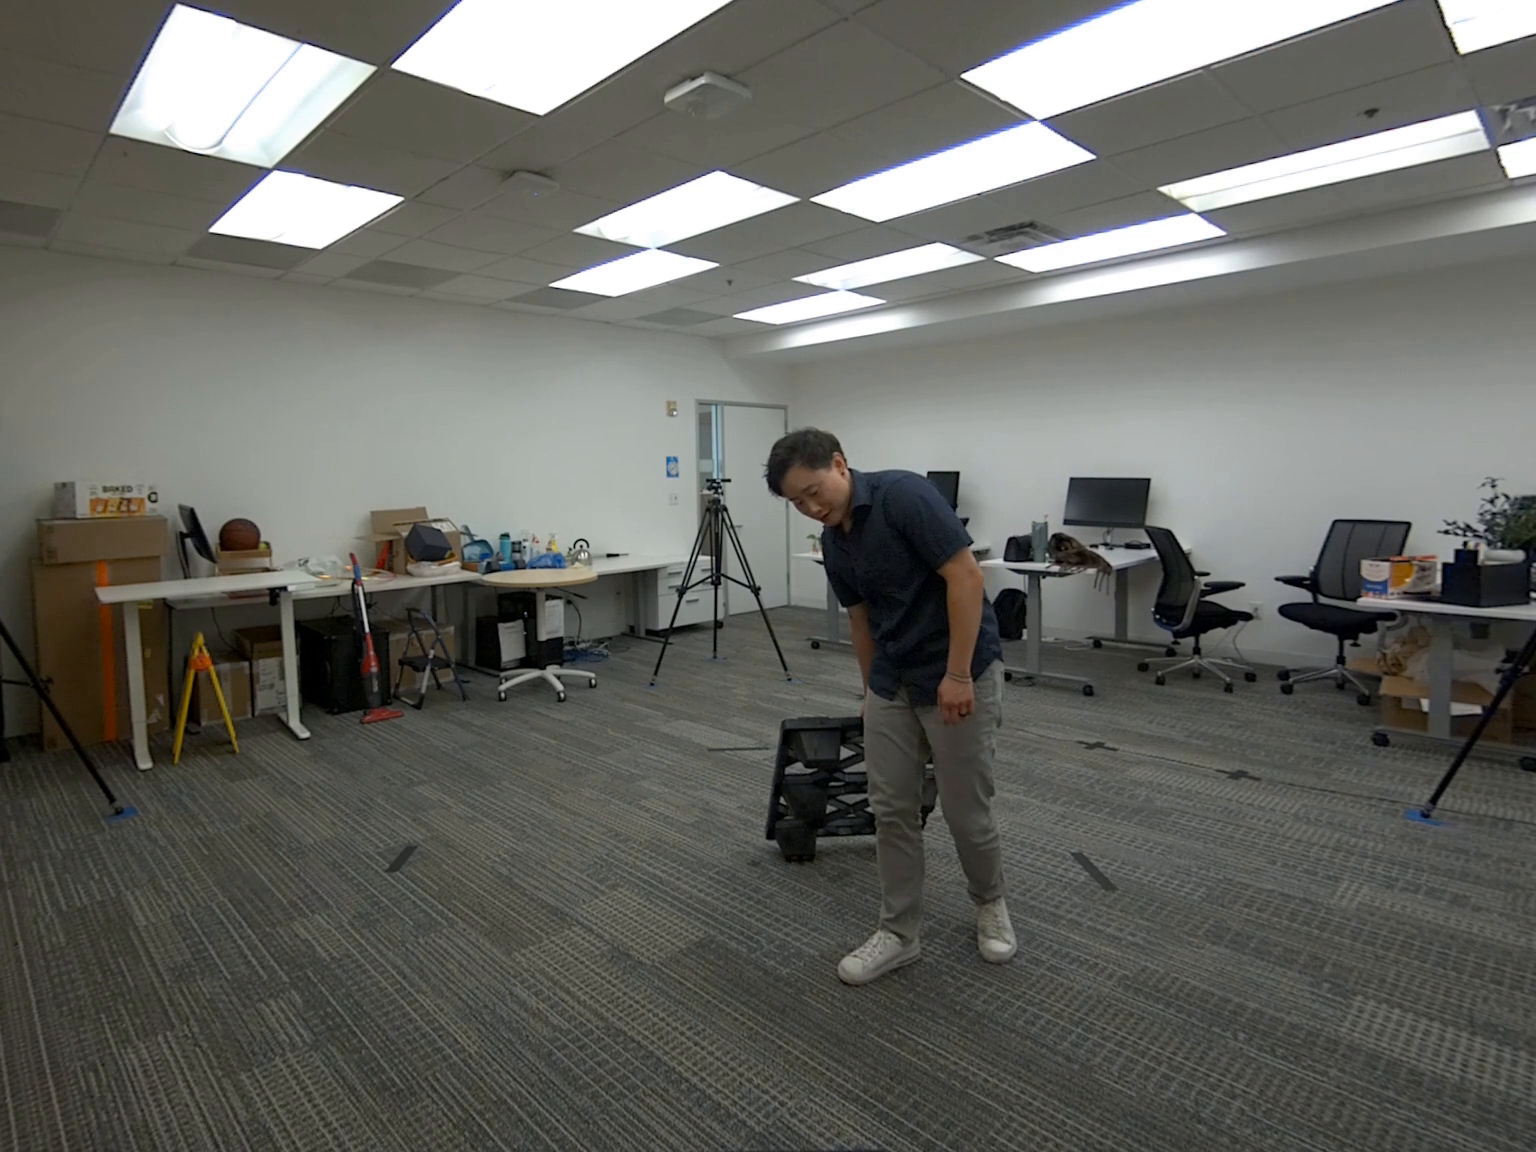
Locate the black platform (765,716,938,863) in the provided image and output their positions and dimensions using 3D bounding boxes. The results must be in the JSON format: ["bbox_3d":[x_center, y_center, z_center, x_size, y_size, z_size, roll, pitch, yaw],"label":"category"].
[{"bbox_3d":[0.325,0.748,2.915,0.603,0.785,0.147,-1,47,-5],"label":"black platform"}]
